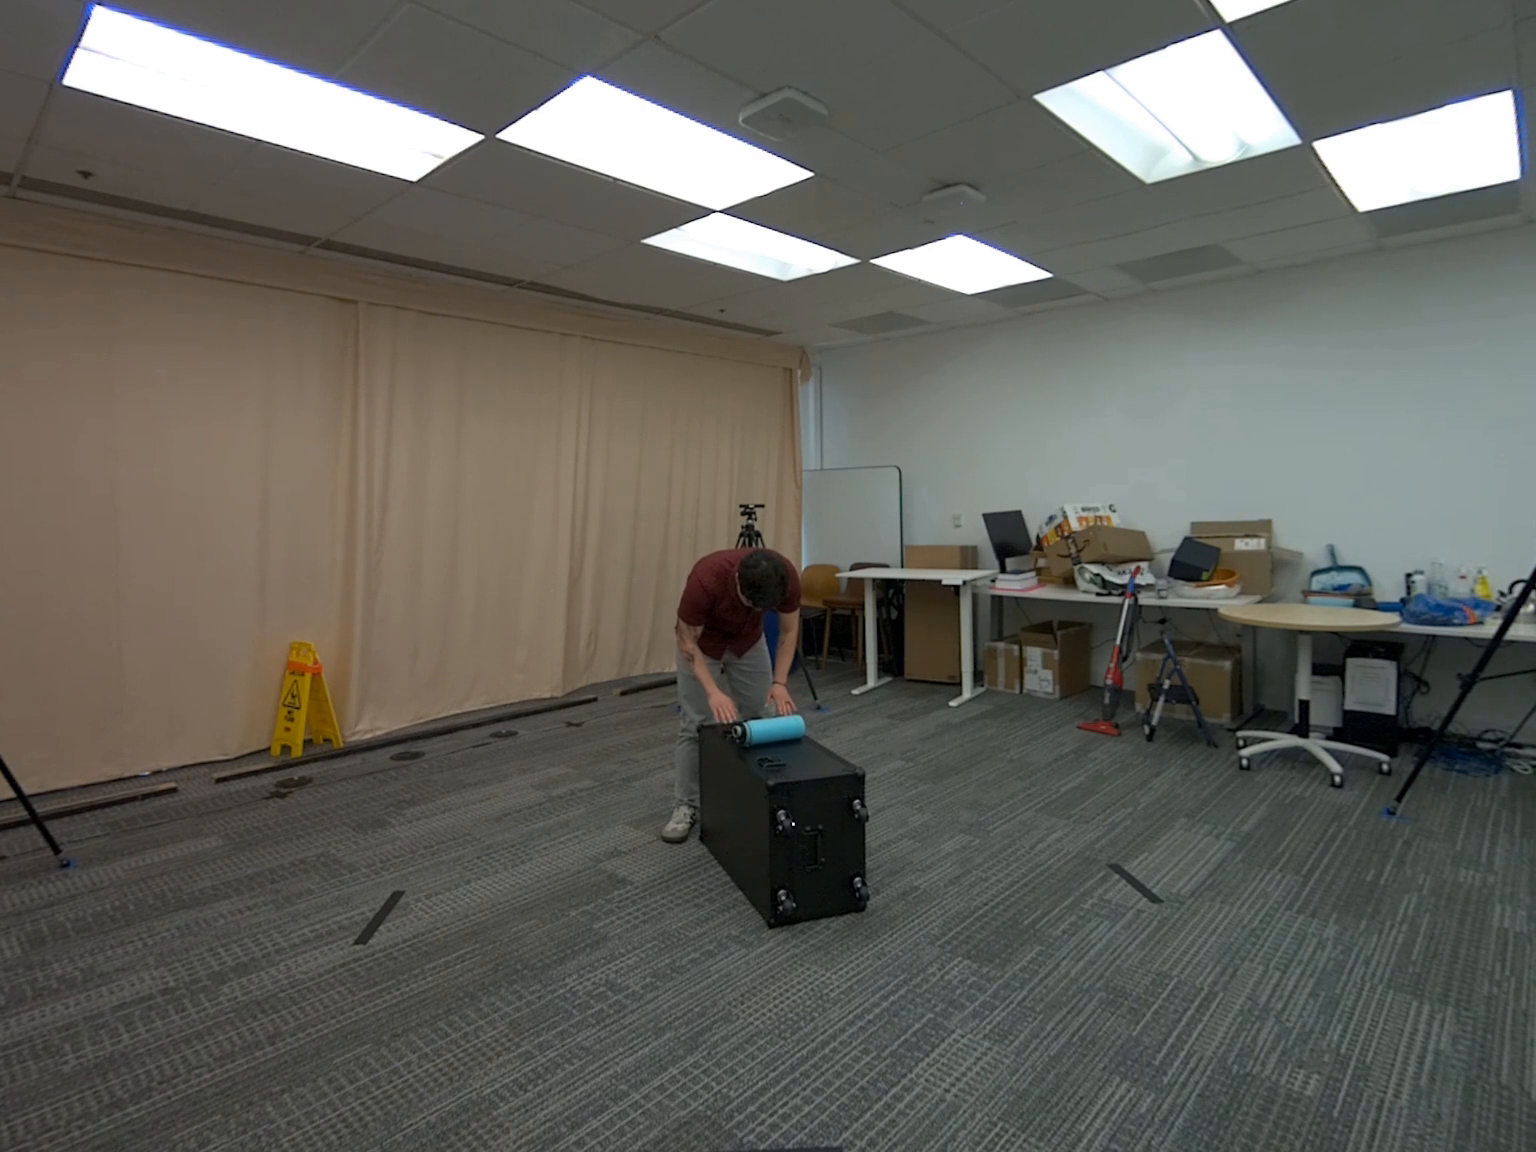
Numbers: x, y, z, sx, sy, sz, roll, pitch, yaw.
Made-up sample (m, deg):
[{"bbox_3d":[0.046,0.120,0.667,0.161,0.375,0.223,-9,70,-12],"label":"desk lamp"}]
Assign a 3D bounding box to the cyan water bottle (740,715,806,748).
[{"bbox_3d":[0.000,0.585,3.205,0.276,0.092,0.095,-4,5,-27],"label":"cyan water bottle"}]
